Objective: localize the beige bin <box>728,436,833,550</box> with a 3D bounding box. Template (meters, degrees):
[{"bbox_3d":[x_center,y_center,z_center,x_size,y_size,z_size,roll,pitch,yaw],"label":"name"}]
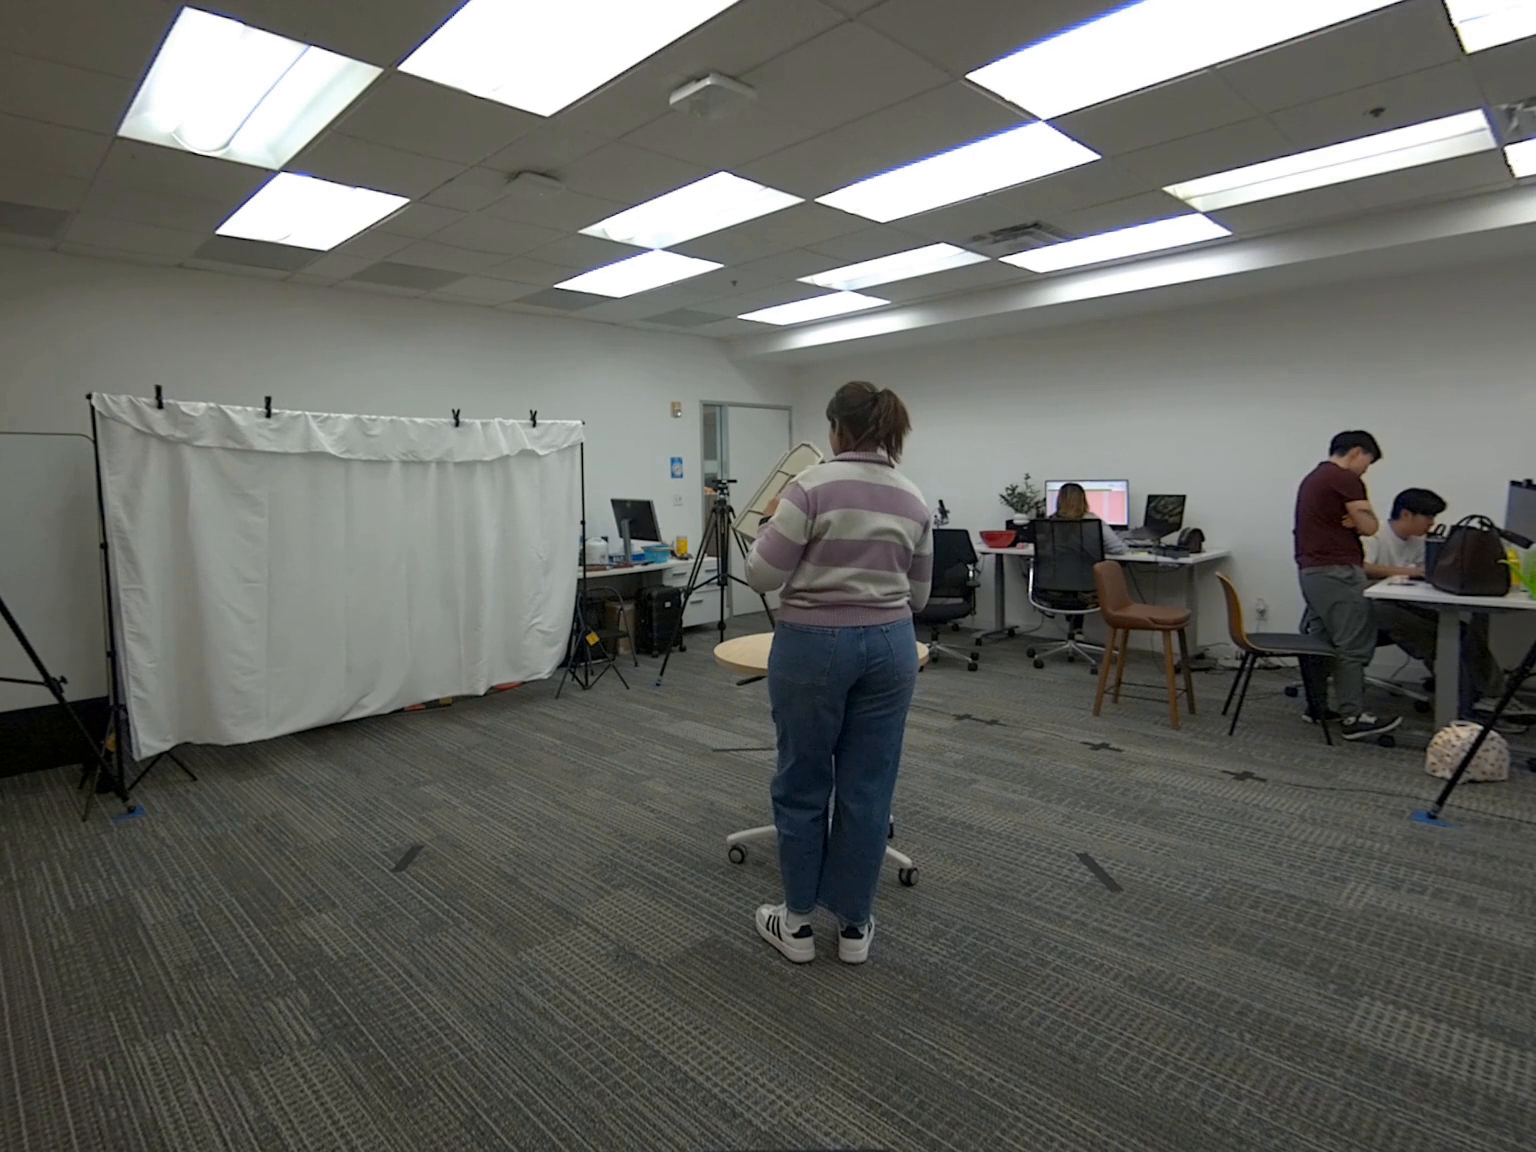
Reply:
[{"bbox_3d":[0.151,-0.169,2.837,0.196,0.378,0.406,26,-14,49],"label":"beige bin"}]
